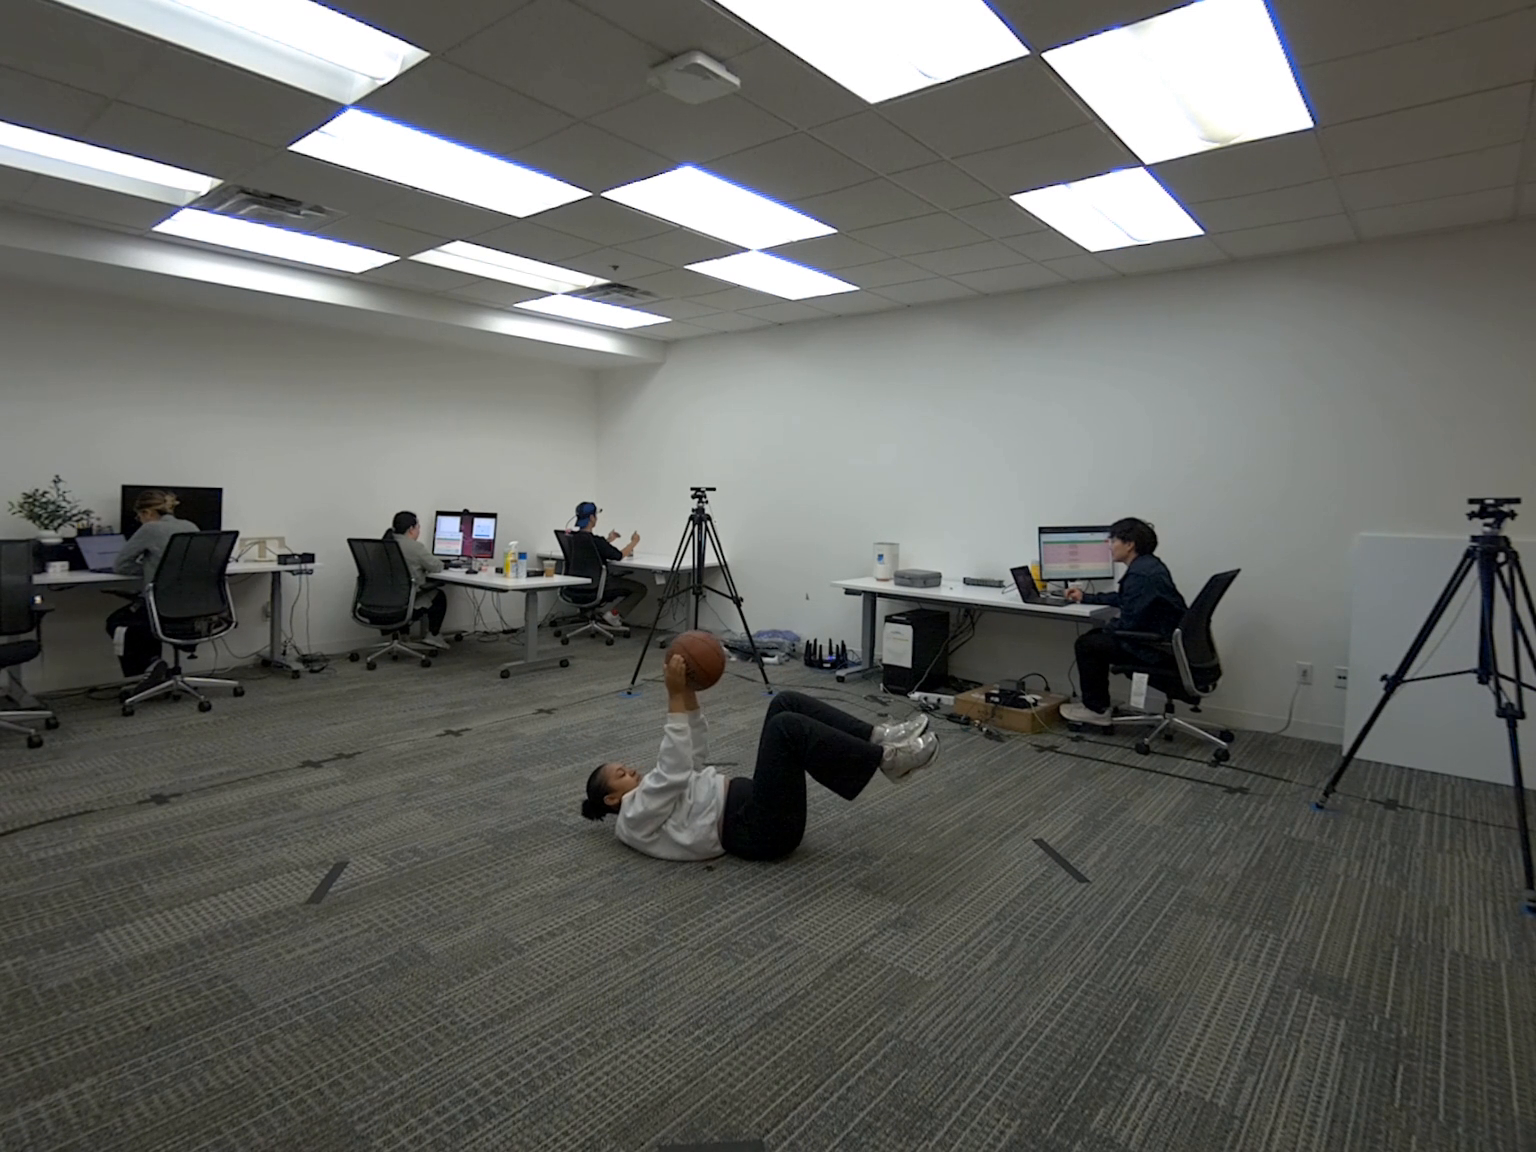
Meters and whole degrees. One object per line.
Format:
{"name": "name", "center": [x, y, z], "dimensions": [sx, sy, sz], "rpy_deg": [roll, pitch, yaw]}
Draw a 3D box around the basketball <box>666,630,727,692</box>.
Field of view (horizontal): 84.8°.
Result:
{"name": "basketball", "center": [-0.300, 0.338, 3.349], "dimensions": [0.236, 0.235, 0.237], "rpy_deg": [0, 4, -2]}
